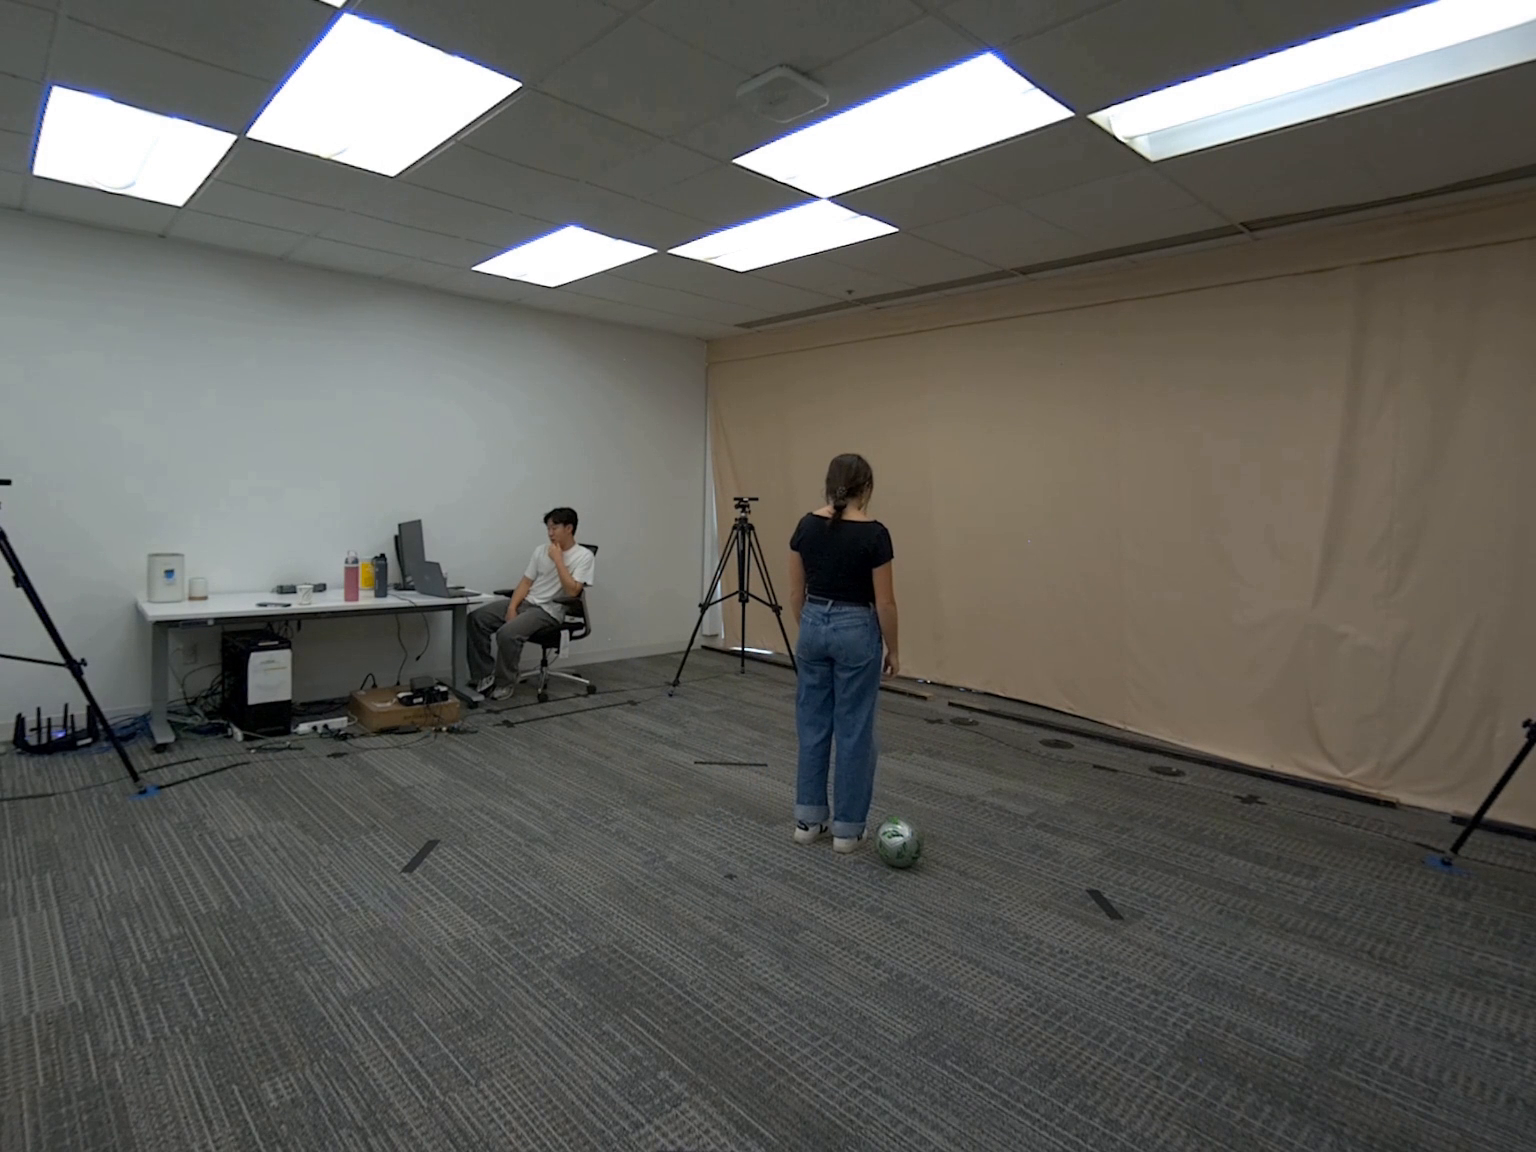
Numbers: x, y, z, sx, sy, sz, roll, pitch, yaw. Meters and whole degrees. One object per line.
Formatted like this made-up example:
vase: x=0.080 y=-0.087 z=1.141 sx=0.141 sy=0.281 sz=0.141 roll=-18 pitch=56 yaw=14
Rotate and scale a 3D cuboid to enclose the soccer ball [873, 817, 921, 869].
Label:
soccer ball: x=0.488 y=1.023 z=3.227 sx=0.187 sy=0.187 sz=0.188 roll=1 pitch=4 yaw=-1
